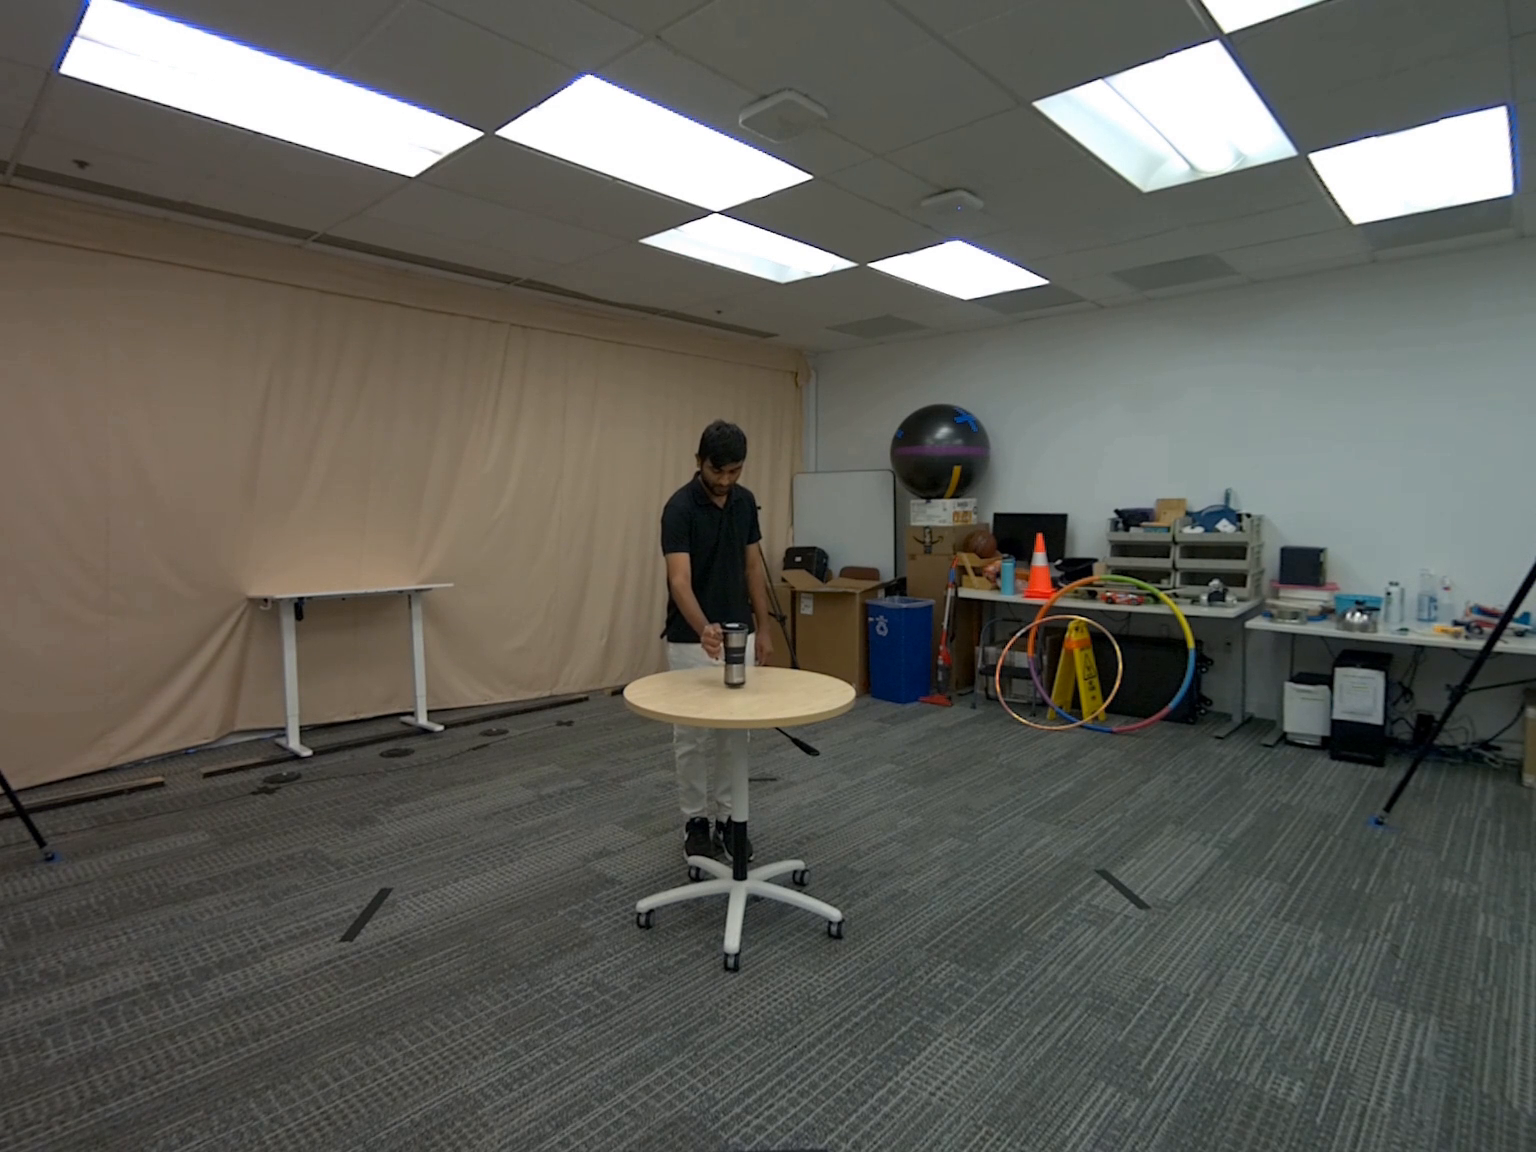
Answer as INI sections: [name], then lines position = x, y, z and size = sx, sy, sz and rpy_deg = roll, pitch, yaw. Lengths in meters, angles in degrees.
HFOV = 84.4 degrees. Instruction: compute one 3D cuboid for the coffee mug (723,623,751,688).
[coffee mug]
position = -0.135, 0.262, 2.835
size = 0.125, 0.202, 0.086
rpy_deg = 0, 9, 29
